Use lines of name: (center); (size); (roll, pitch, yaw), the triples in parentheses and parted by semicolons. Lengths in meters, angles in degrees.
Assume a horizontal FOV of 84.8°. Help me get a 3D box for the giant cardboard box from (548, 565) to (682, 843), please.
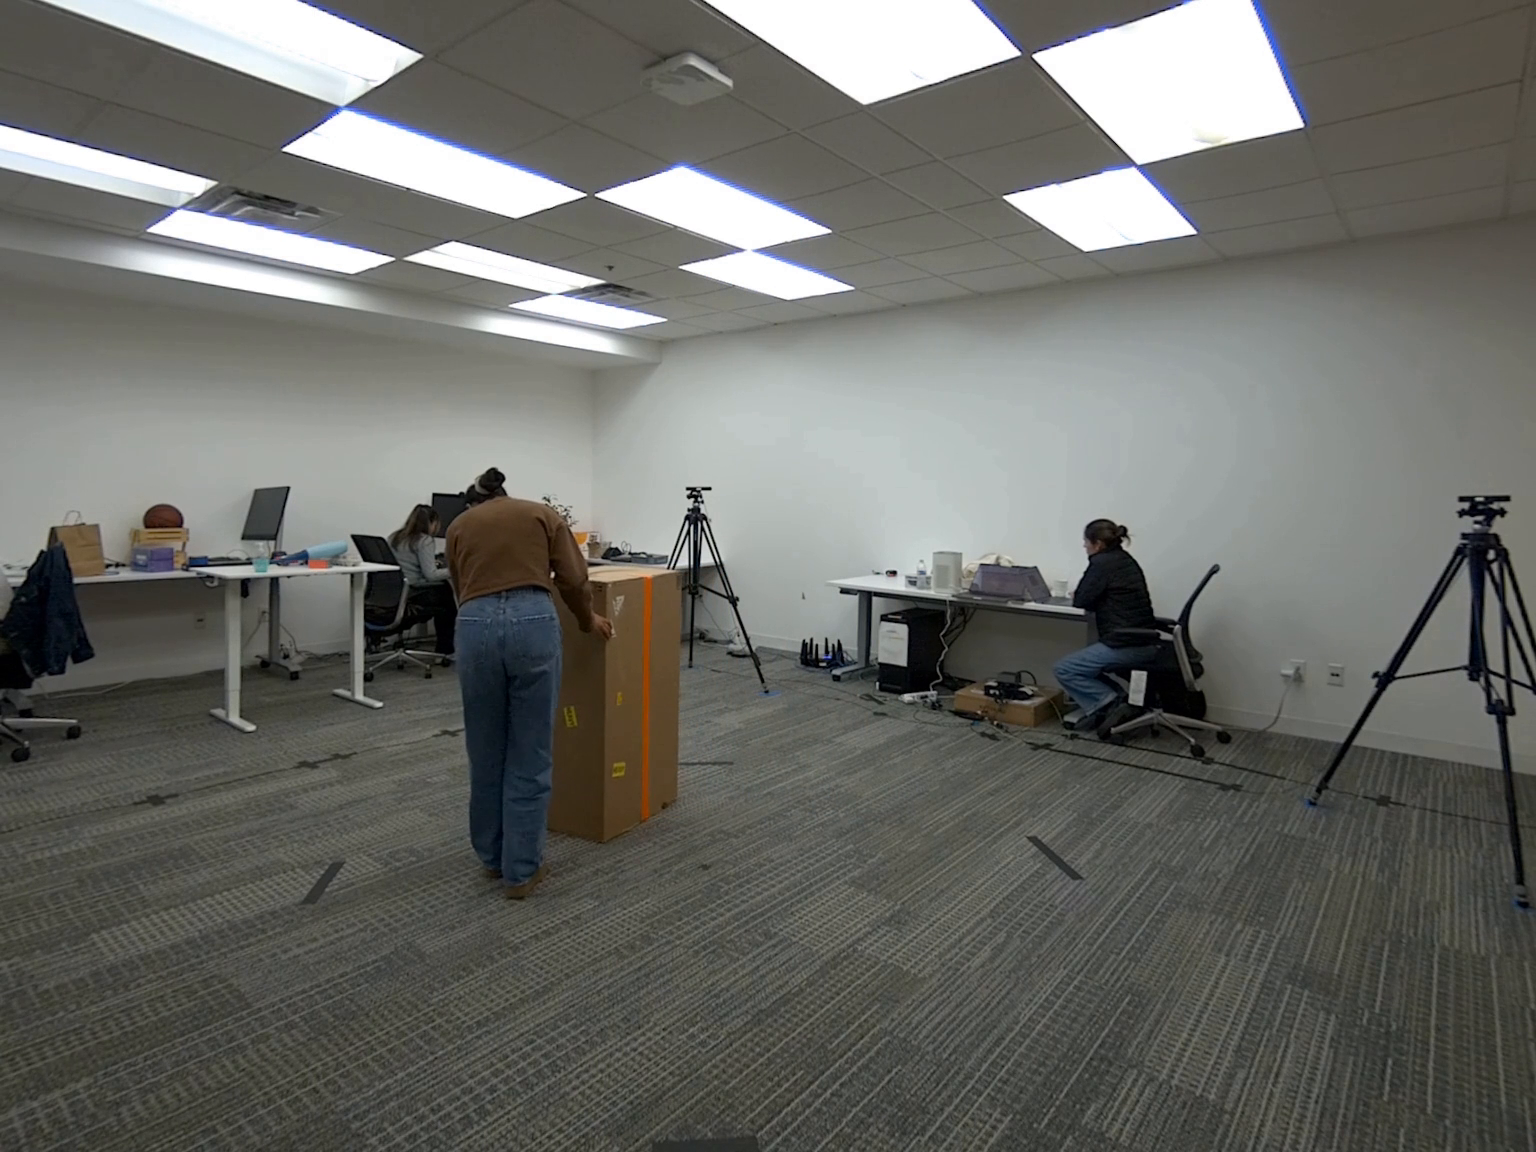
giant cardboard box: (-0.706, 0.496, 3.629); (0.438, 1.023, 0.564); (3, 4, 26)
